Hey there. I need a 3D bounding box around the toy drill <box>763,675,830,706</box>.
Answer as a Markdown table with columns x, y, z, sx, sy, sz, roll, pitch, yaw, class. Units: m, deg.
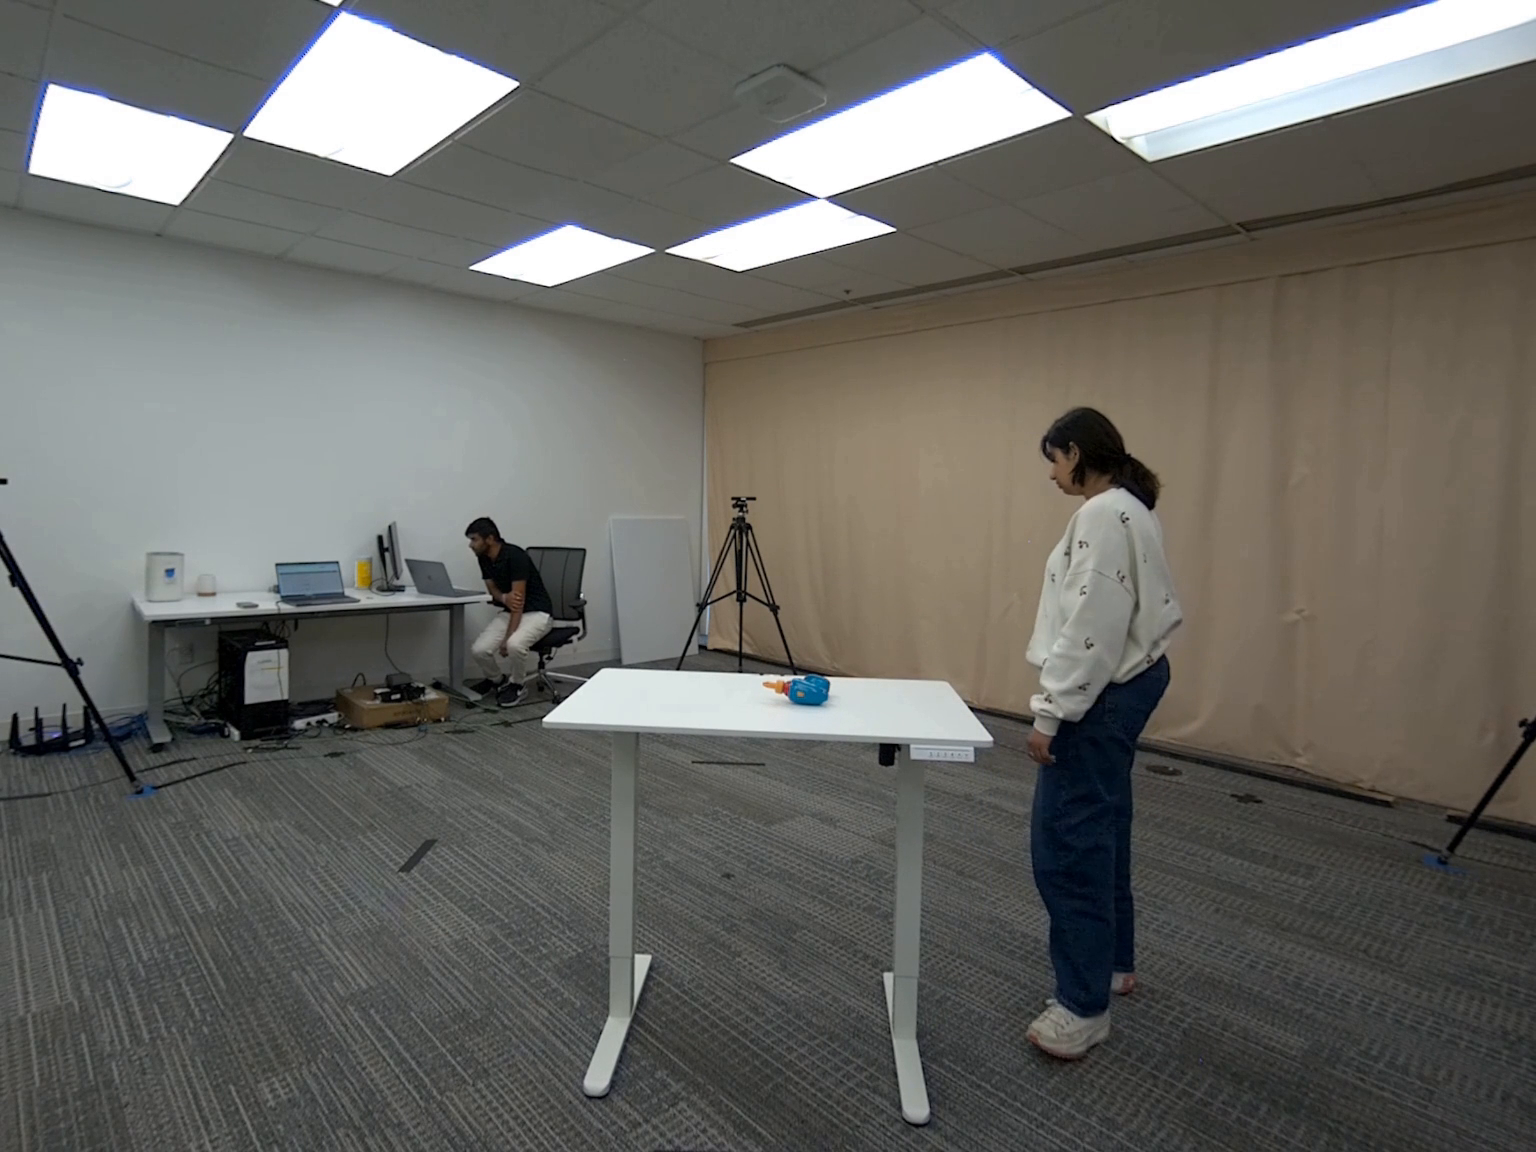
| x | y | z | sx | sy | sz | roll | pitch | yaw | class |
| --- | --- | --- | --- | --- | --- | --- | --- | --- | --- |
| 0.065 | 0.281 | 2.161 | 0.172 | 0.061 | 0.145 | 7 | 6 | 13 | toy drill |
